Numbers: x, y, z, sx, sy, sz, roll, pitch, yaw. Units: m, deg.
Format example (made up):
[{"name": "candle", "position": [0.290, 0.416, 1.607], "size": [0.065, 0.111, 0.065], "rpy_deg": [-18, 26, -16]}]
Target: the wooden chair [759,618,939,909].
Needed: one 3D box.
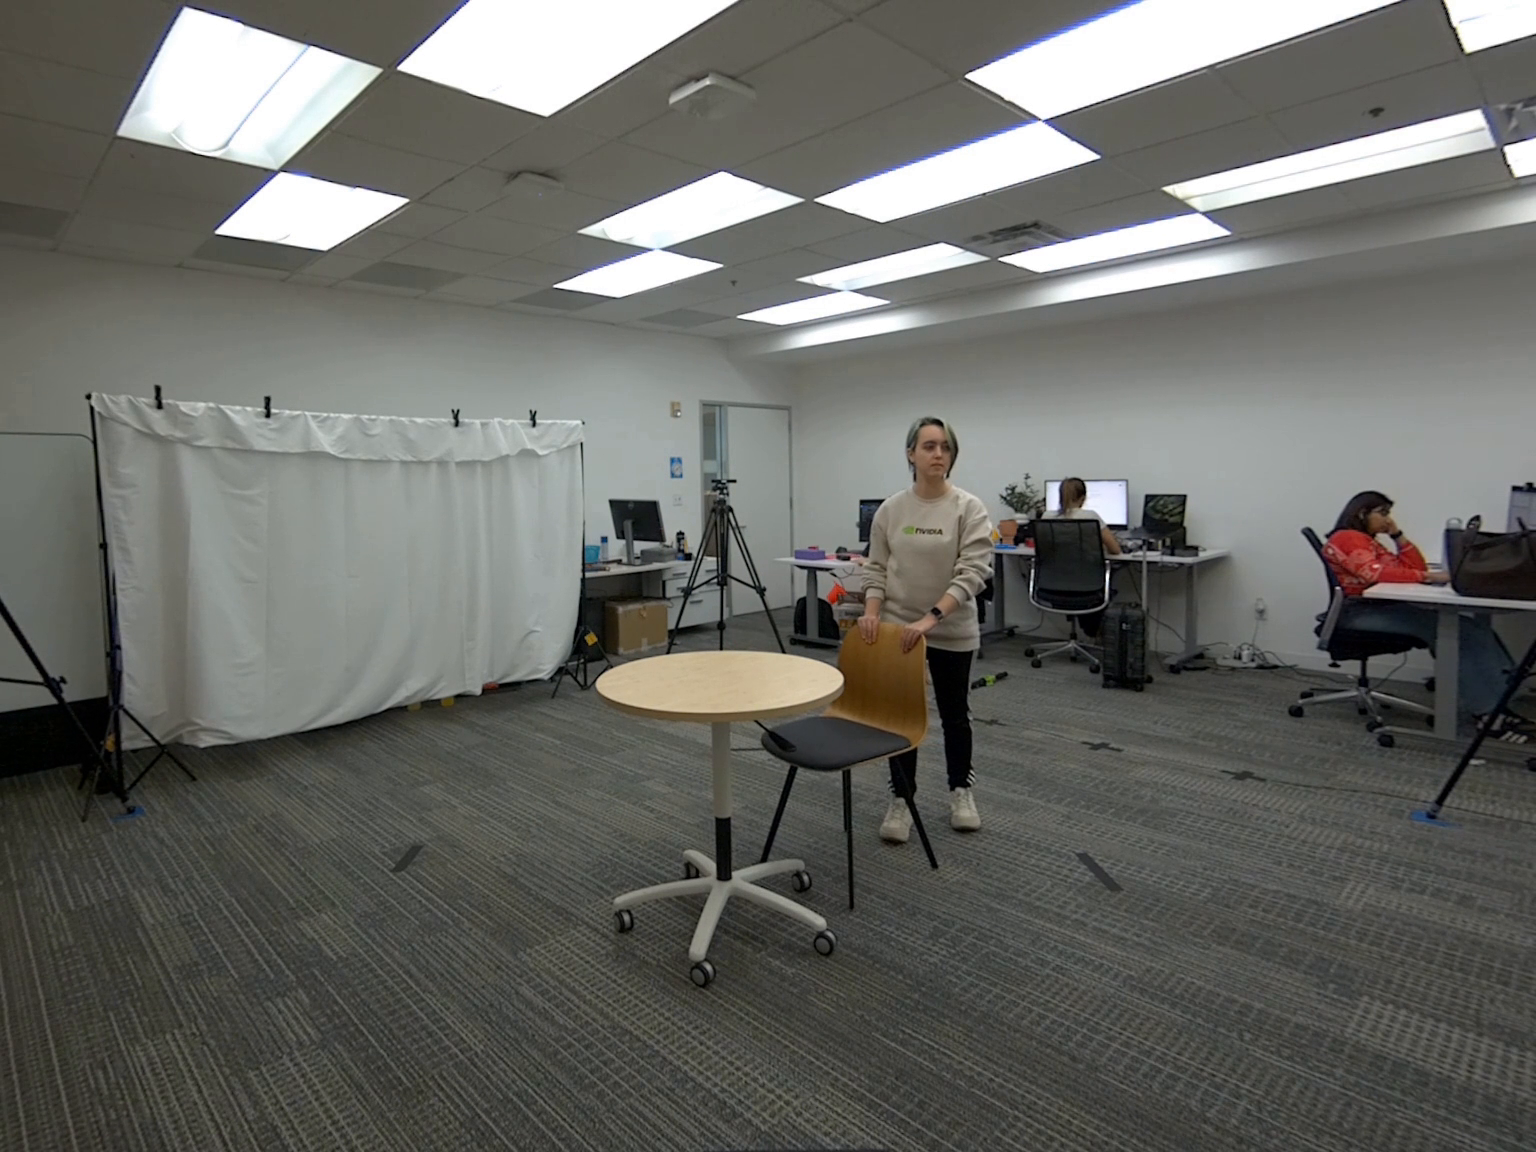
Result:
[{"name": "wooden chair", "position": [0.278, 0.622, 3.033], "size": [0.508, 0.876, 0.493], "rpy_deg": [1, 3, -40]}]
